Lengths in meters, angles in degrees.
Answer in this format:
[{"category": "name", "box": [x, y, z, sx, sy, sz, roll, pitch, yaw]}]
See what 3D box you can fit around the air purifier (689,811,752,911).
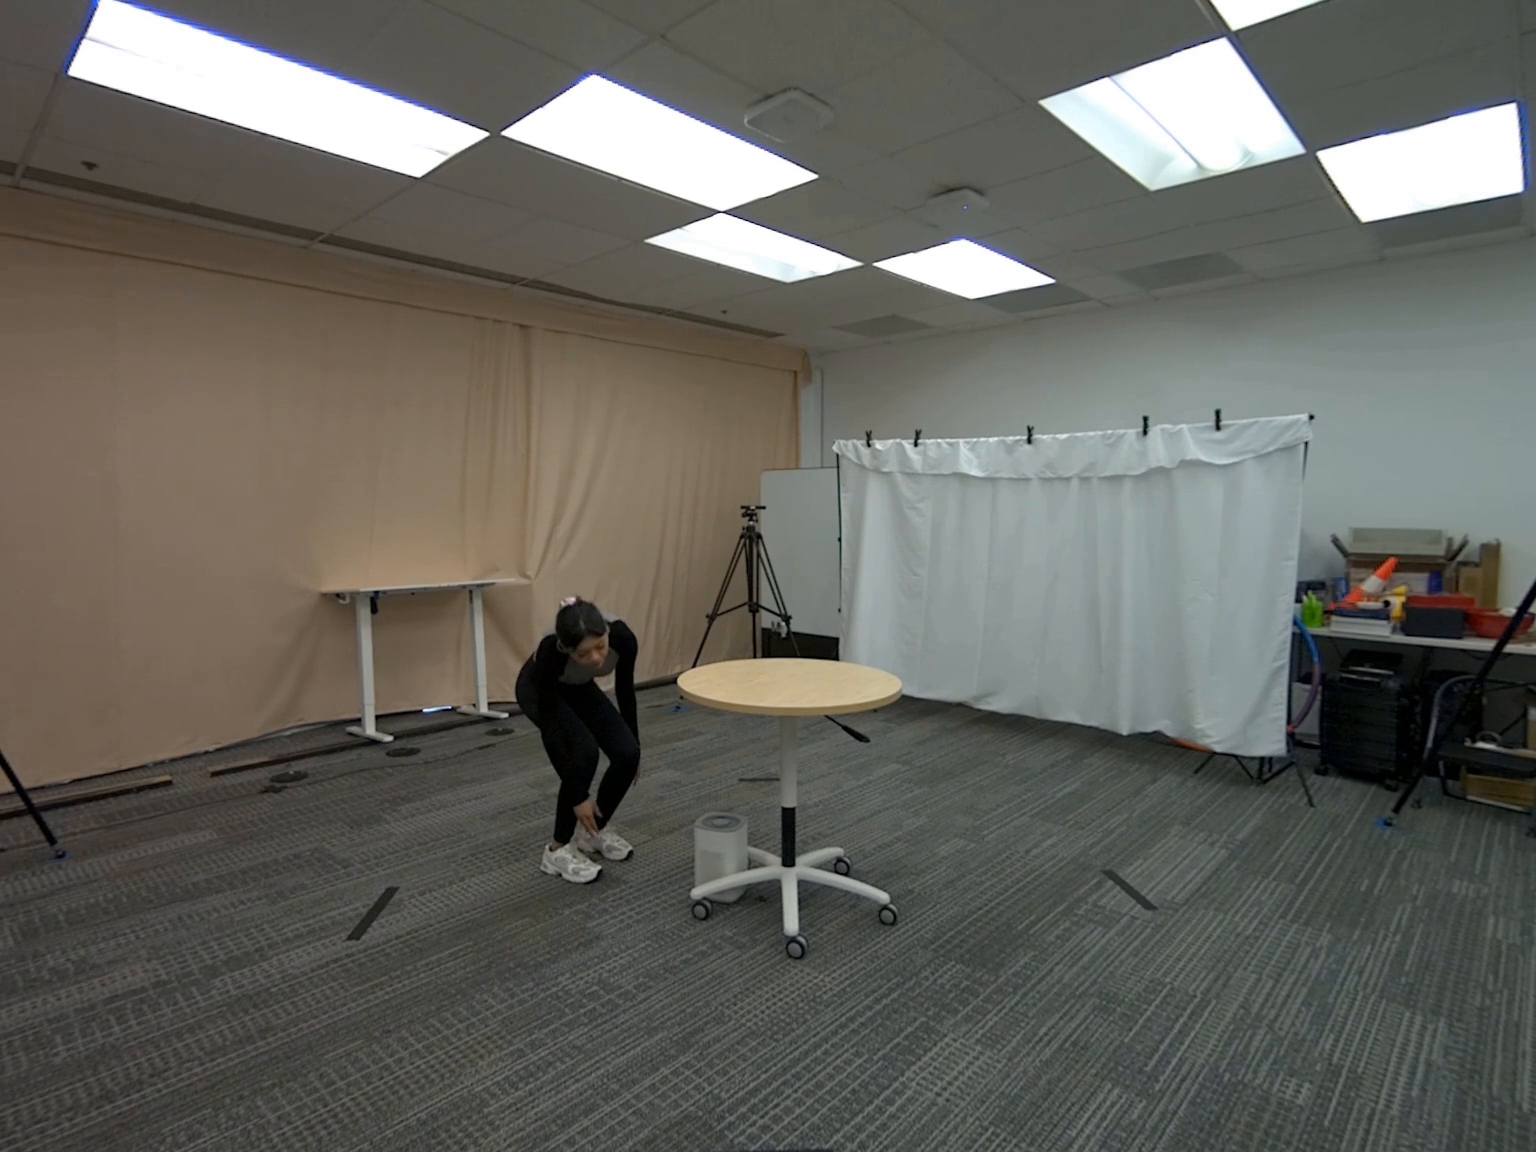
[{"category": "air purifier", "box": [-0.169, 1.005, 3.013, 0.175, 0.265, 0.168, 1, 3, 18]}]
